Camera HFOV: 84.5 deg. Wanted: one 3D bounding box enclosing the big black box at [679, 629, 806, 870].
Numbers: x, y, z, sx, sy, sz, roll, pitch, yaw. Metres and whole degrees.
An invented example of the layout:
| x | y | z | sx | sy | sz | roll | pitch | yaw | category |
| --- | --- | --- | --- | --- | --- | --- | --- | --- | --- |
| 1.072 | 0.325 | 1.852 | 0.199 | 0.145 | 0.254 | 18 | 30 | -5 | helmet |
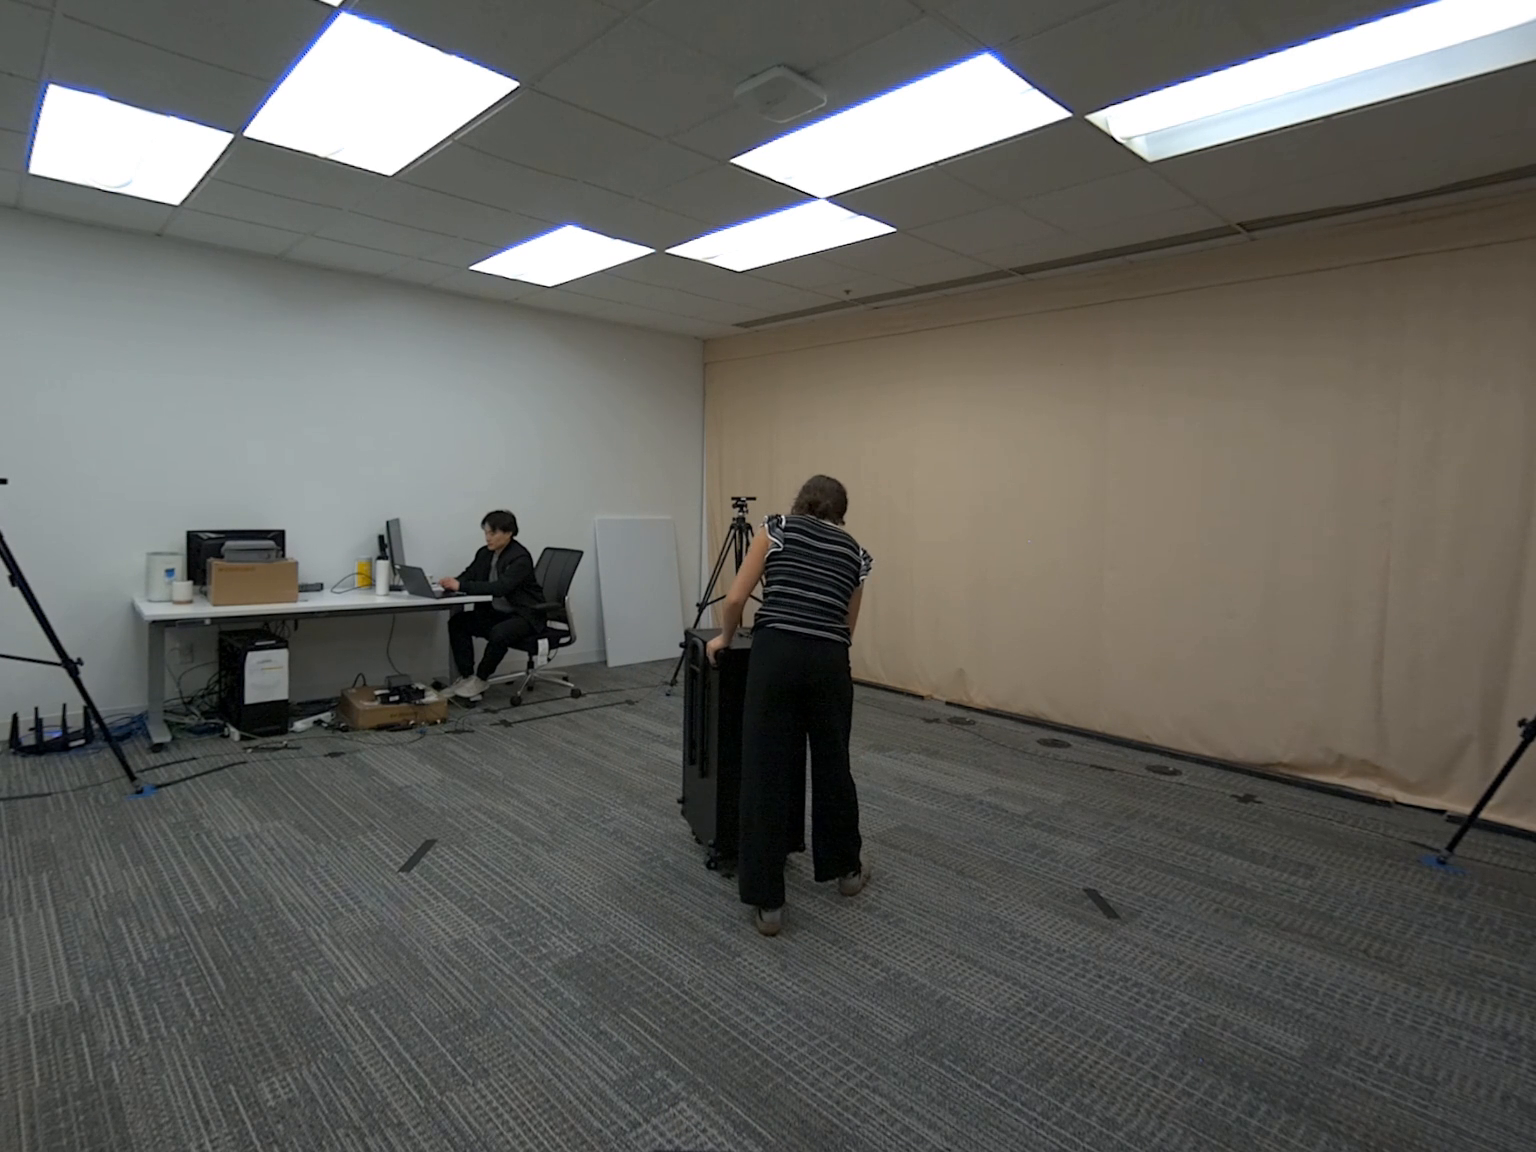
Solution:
| x | y | z | sx | sy | sz | roll | pitch | yaw | category |
| --- | --- | --- | --- | --- | --- | --- | --- | --- | --- |
| -0.122 | 0.667 | 3.314 | 0.391 | 0.859 | 0.530 | 0 | 4 | -19 | big black box |
